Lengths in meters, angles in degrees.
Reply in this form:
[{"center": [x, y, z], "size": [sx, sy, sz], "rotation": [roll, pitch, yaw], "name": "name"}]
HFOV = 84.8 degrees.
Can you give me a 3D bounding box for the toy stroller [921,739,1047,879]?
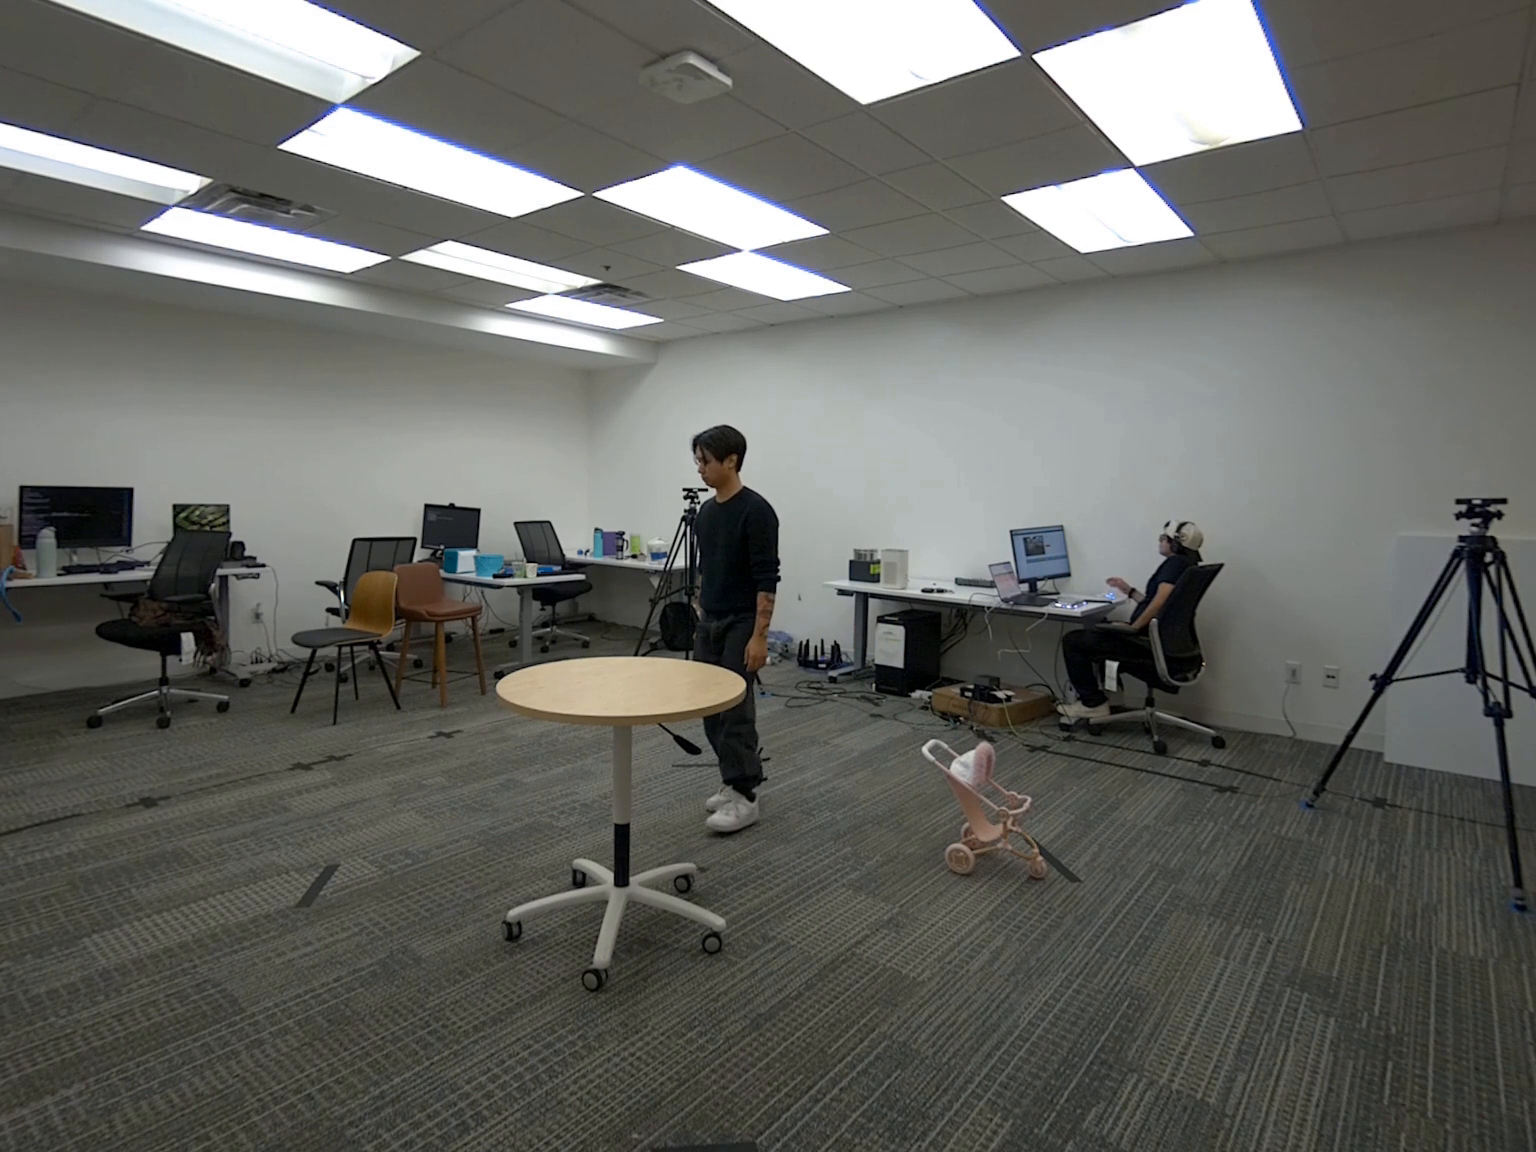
[{"center": [0.815, 0.861, 3.193], "size": [0.348, 0.539, 0.274], "rotation": [-17, -7, 33], "name": "toy stroller"}]
